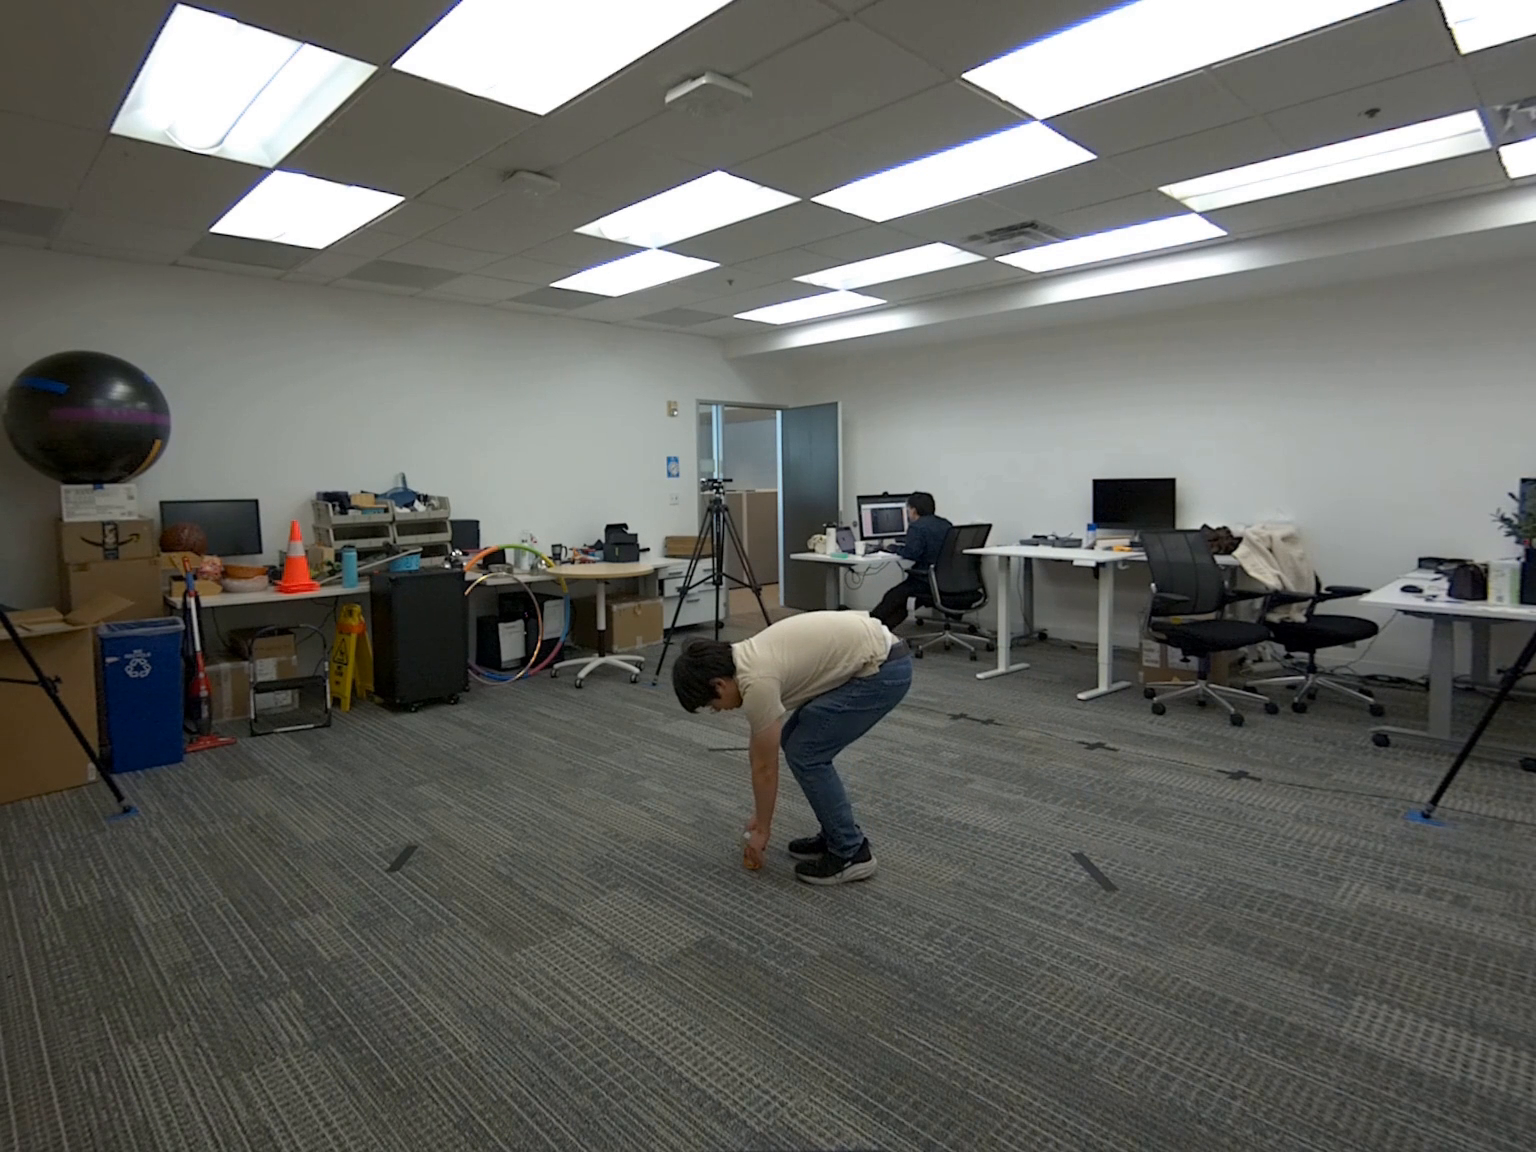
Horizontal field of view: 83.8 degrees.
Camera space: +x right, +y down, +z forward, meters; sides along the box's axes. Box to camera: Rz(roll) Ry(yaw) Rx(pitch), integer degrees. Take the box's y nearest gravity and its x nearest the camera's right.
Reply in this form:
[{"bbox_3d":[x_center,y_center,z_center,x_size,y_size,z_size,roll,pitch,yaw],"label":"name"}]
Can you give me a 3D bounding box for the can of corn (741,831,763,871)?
[{"bbox_3d":[-0.052,0.994,3.093,0.074,0.110,0.074,-2,5,-1],"label":"can of corn"}]
